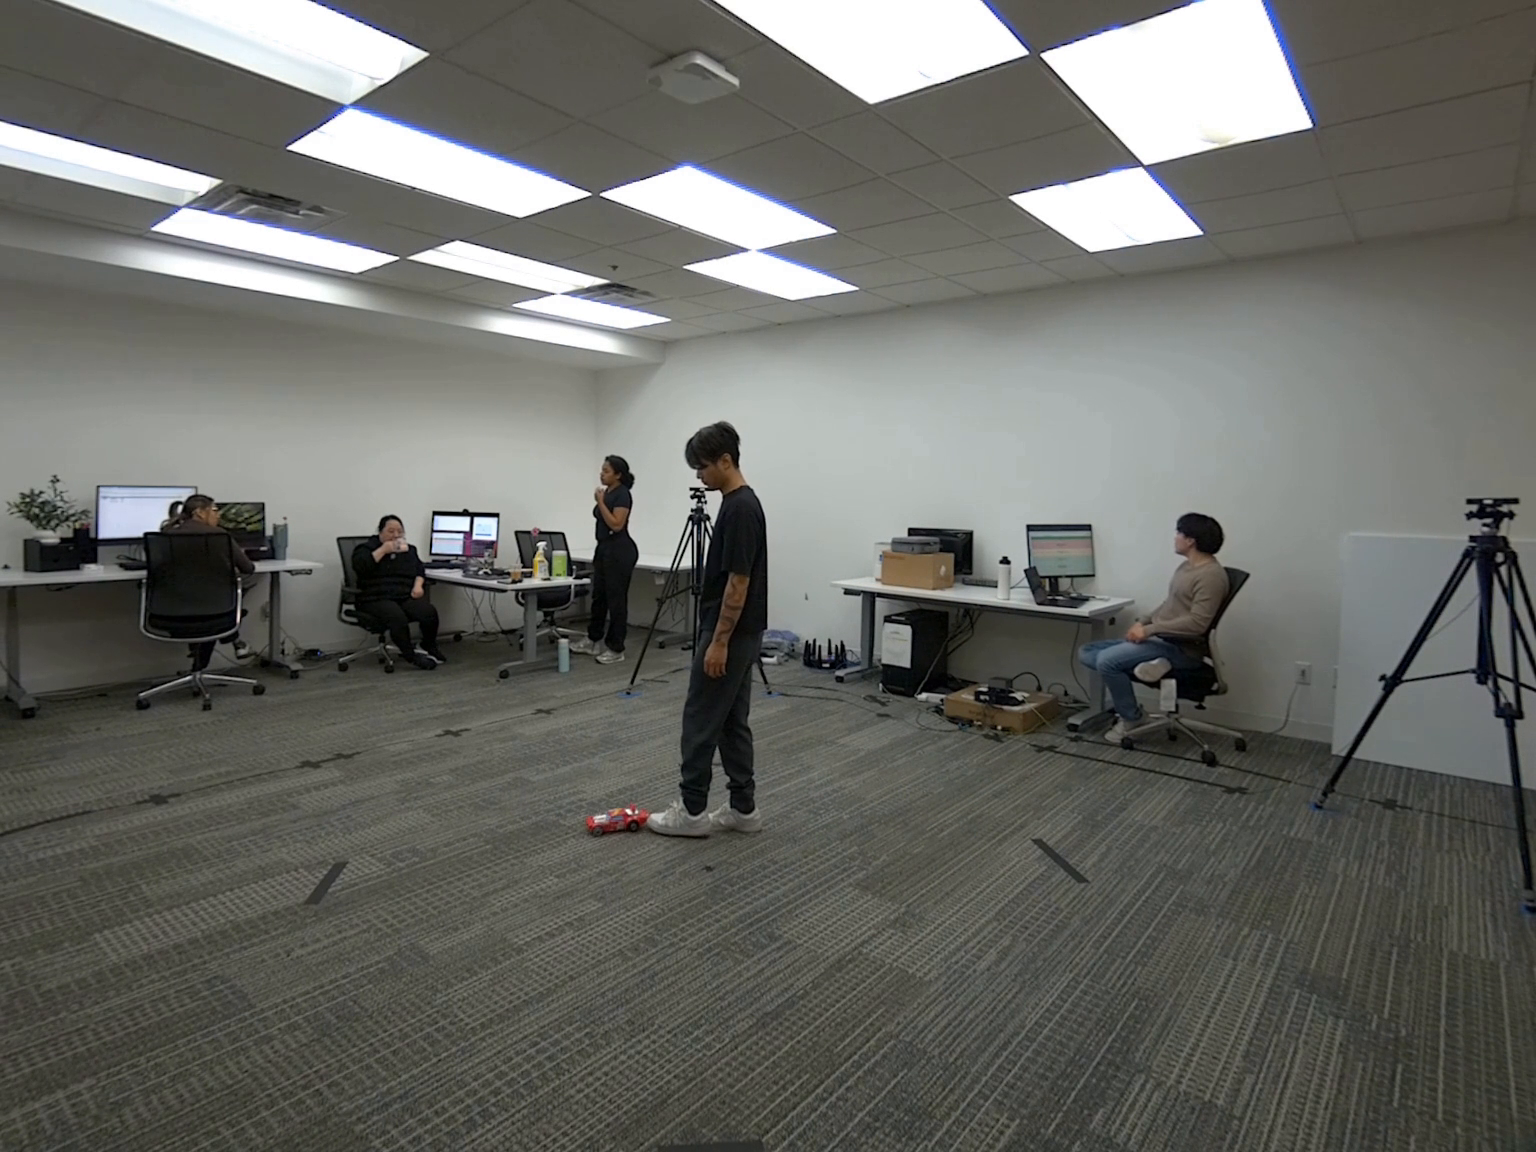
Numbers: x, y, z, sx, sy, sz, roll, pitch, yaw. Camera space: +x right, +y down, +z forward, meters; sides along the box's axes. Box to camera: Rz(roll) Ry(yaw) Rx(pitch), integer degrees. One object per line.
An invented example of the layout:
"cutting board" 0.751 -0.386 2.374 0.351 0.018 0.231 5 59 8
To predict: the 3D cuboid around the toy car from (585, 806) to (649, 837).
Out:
"toy car" -0.616 0.994 3.464 0.251 0.082 0.133 -13 8 -18
